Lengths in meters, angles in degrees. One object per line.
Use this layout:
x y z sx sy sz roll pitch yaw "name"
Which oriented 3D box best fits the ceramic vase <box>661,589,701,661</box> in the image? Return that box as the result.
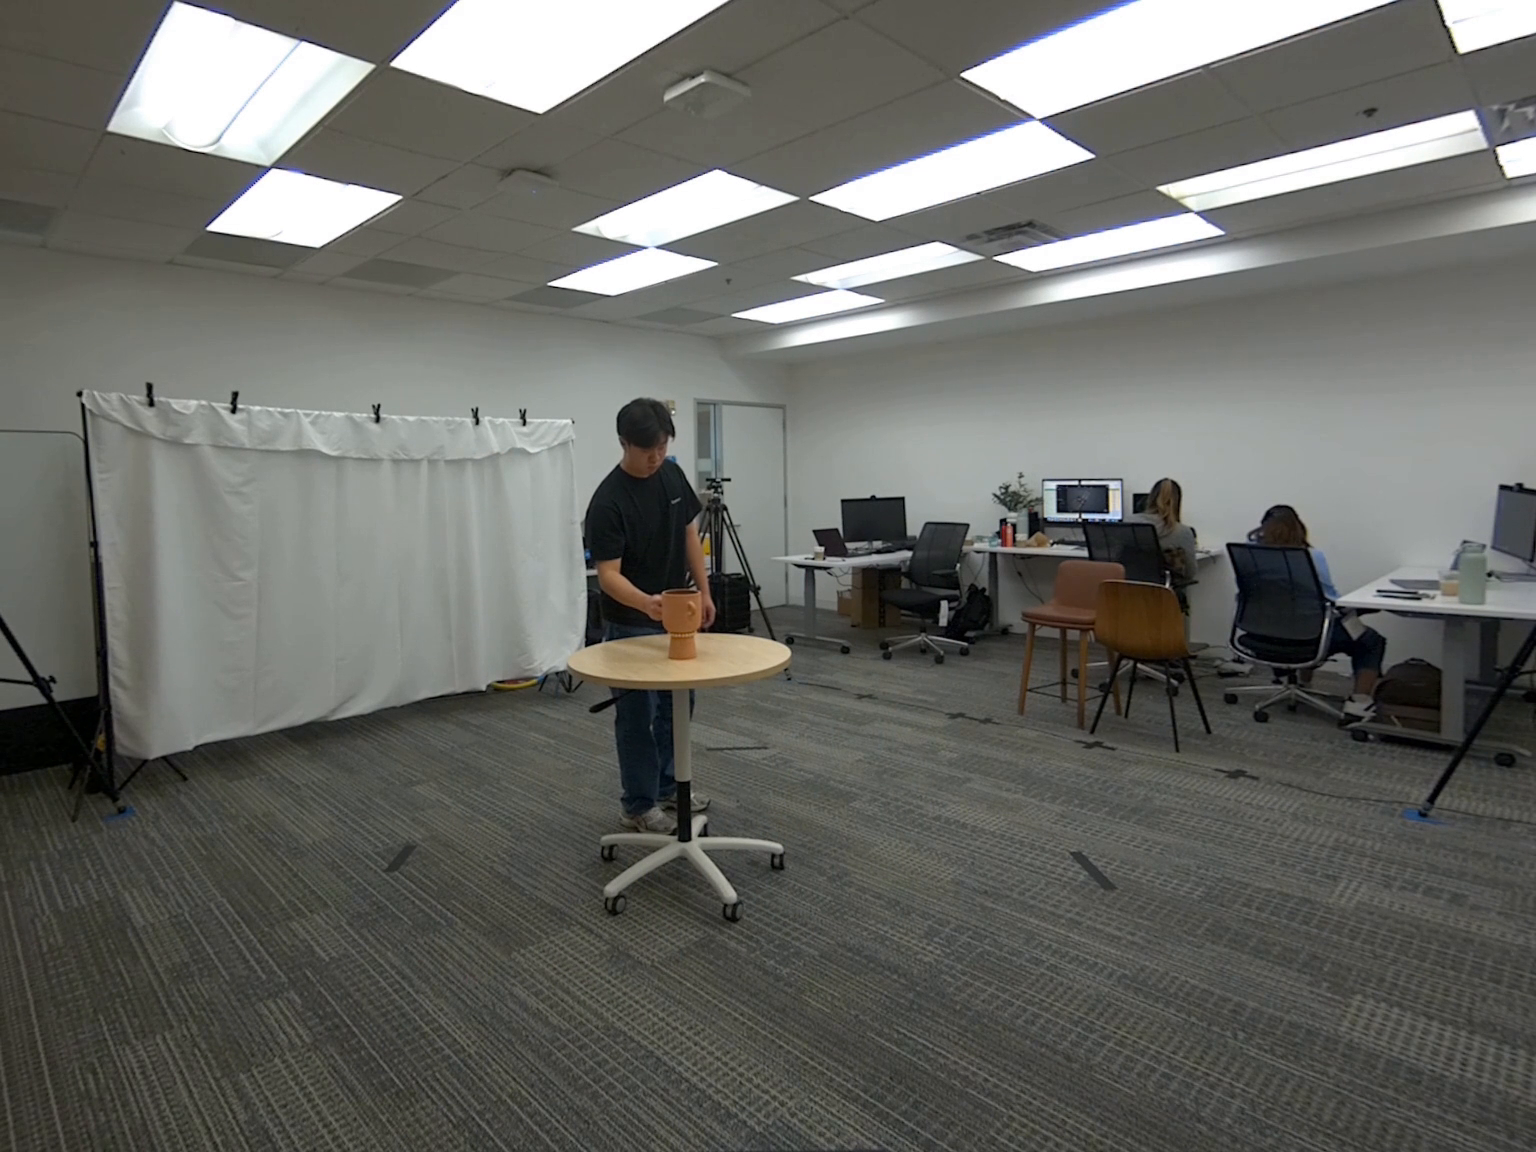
-0.286 0.167 2.883 0.136 0.218 0.158 1 7 11 "ceramic vase"
